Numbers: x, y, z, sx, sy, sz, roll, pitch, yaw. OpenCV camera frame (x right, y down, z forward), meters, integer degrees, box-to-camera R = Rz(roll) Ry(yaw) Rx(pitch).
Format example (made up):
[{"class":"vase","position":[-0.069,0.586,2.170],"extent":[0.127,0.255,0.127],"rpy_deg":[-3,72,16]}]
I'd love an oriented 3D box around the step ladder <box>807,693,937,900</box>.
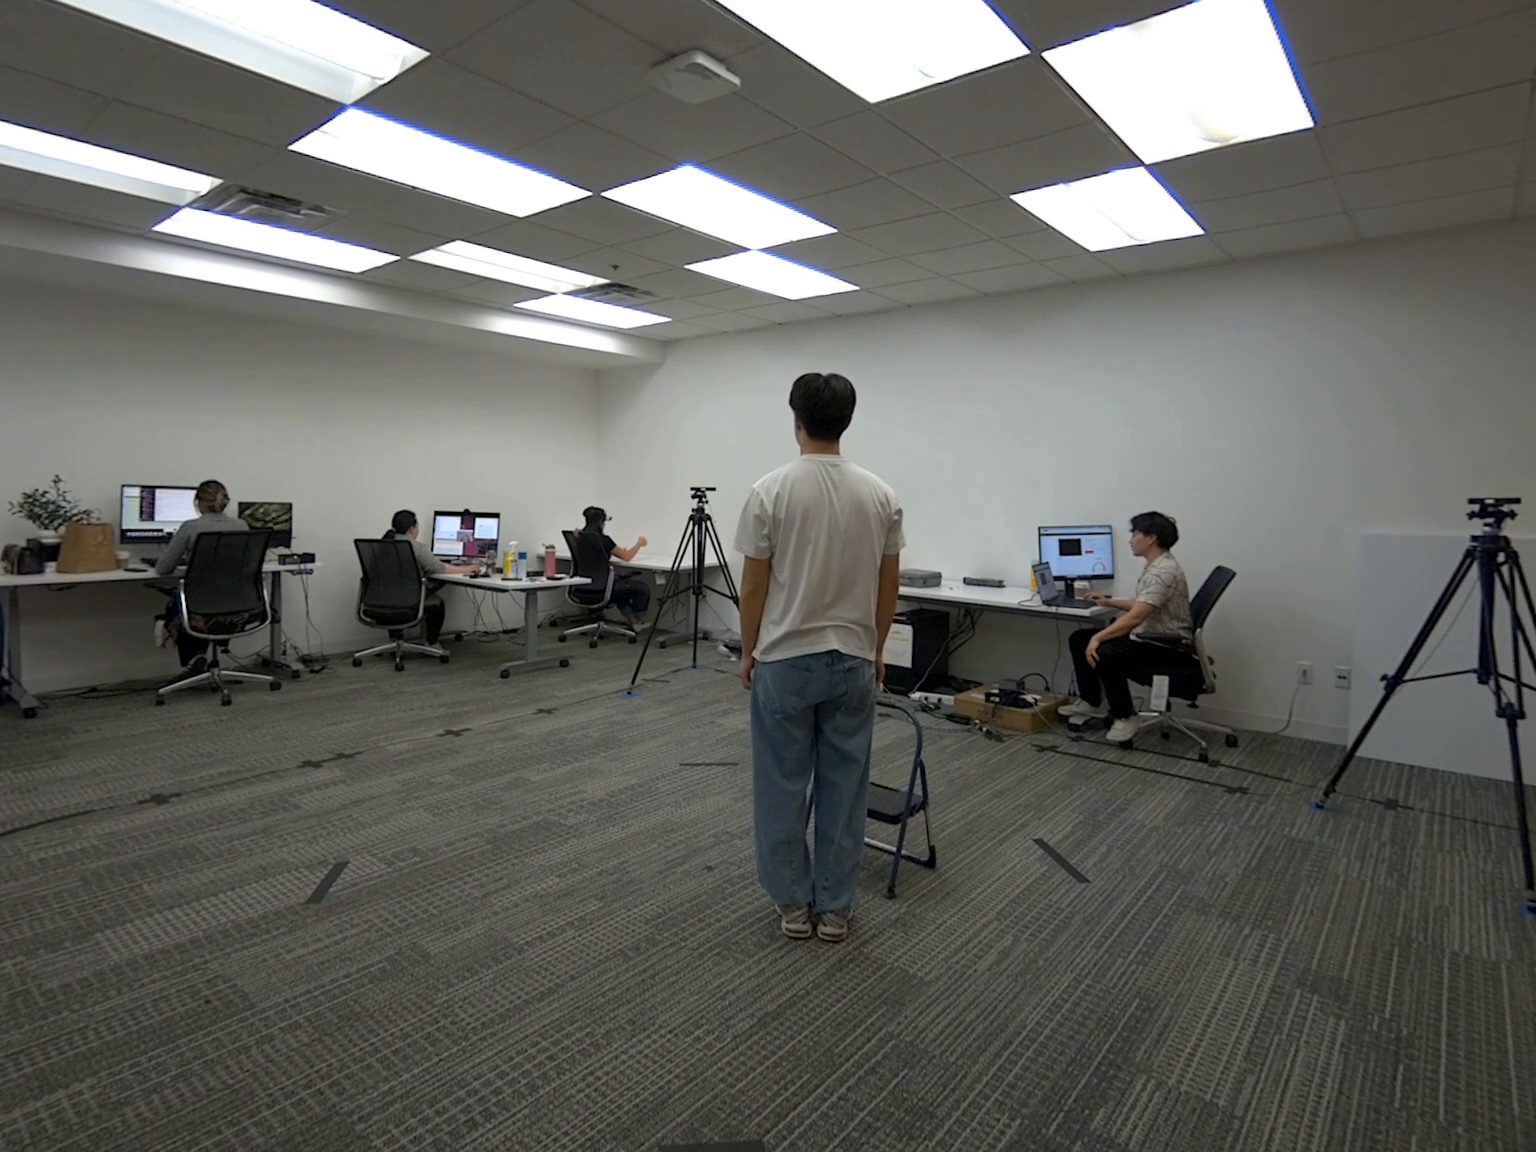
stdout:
[{"class":"step ladder","position":[0.364,0.768,3.160],"extent":[0.445,0.604,0.339],"rpy_deg":[5,5,40]}]
